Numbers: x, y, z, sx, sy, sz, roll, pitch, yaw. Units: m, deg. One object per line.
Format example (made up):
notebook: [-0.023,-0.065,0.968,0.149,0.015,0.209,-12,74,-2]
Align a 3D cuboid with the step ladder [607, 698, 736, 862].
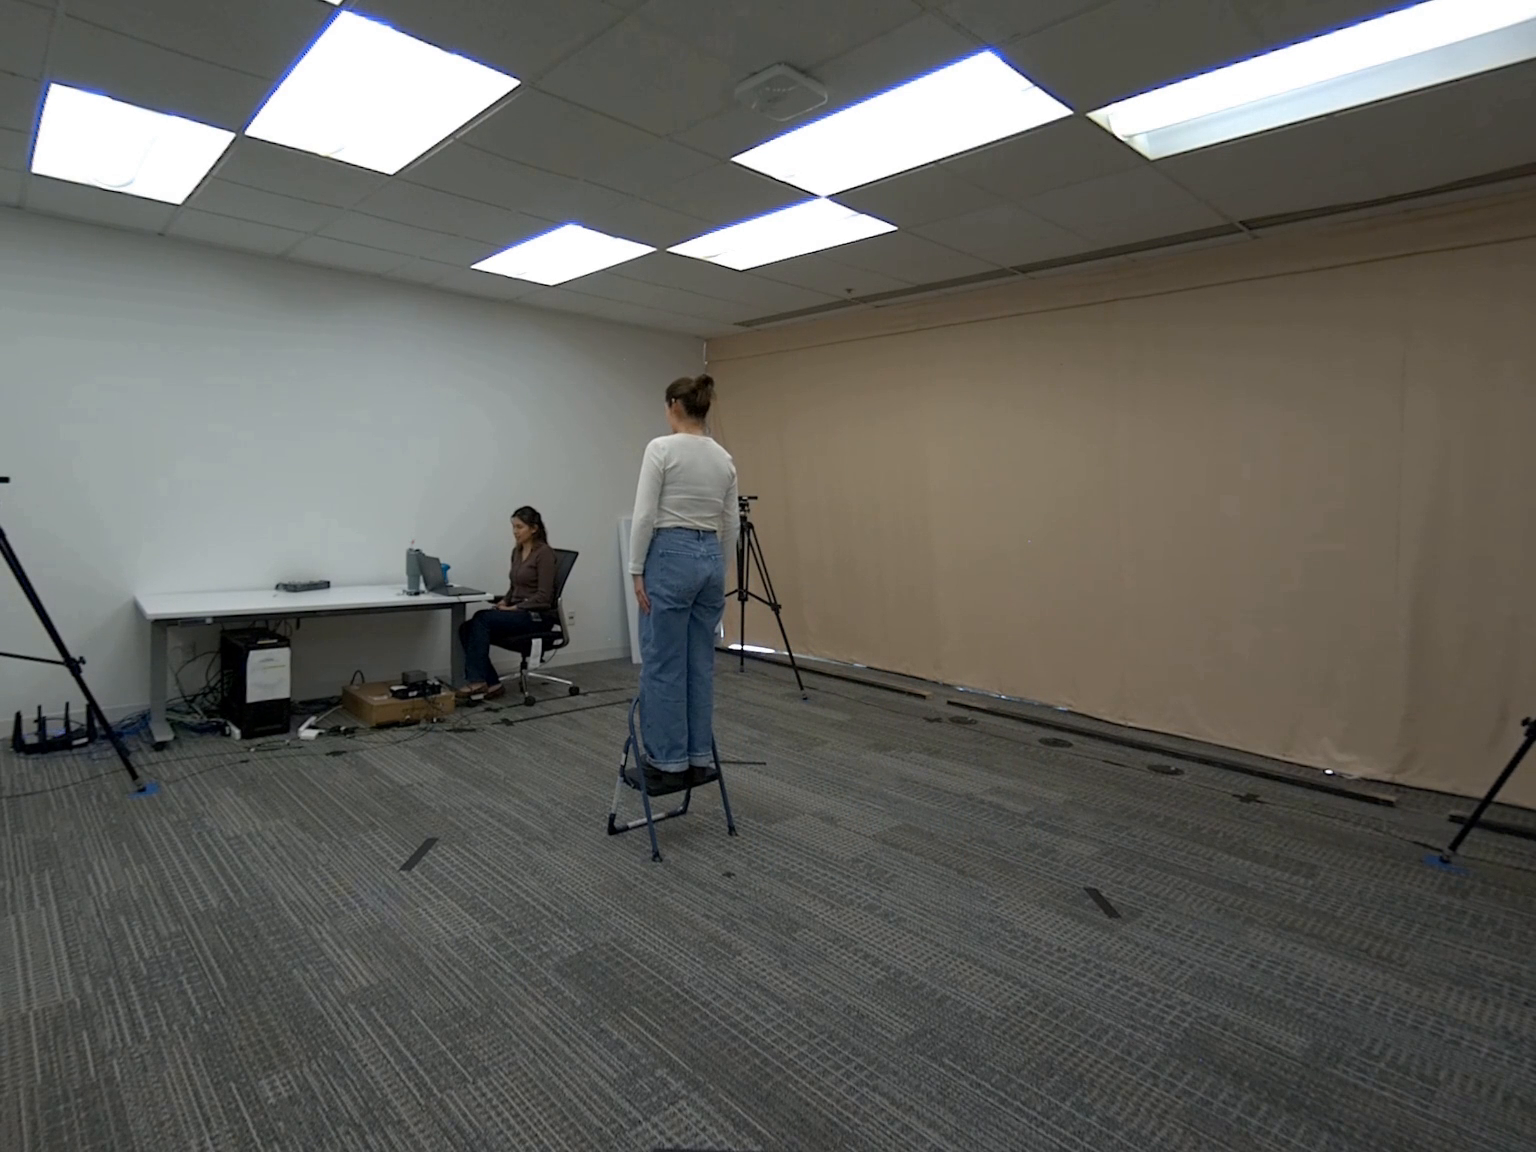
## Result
step ladder: [-0.392,0.763,3.449,0.421,0.605,0.358,-2,4,-45]
